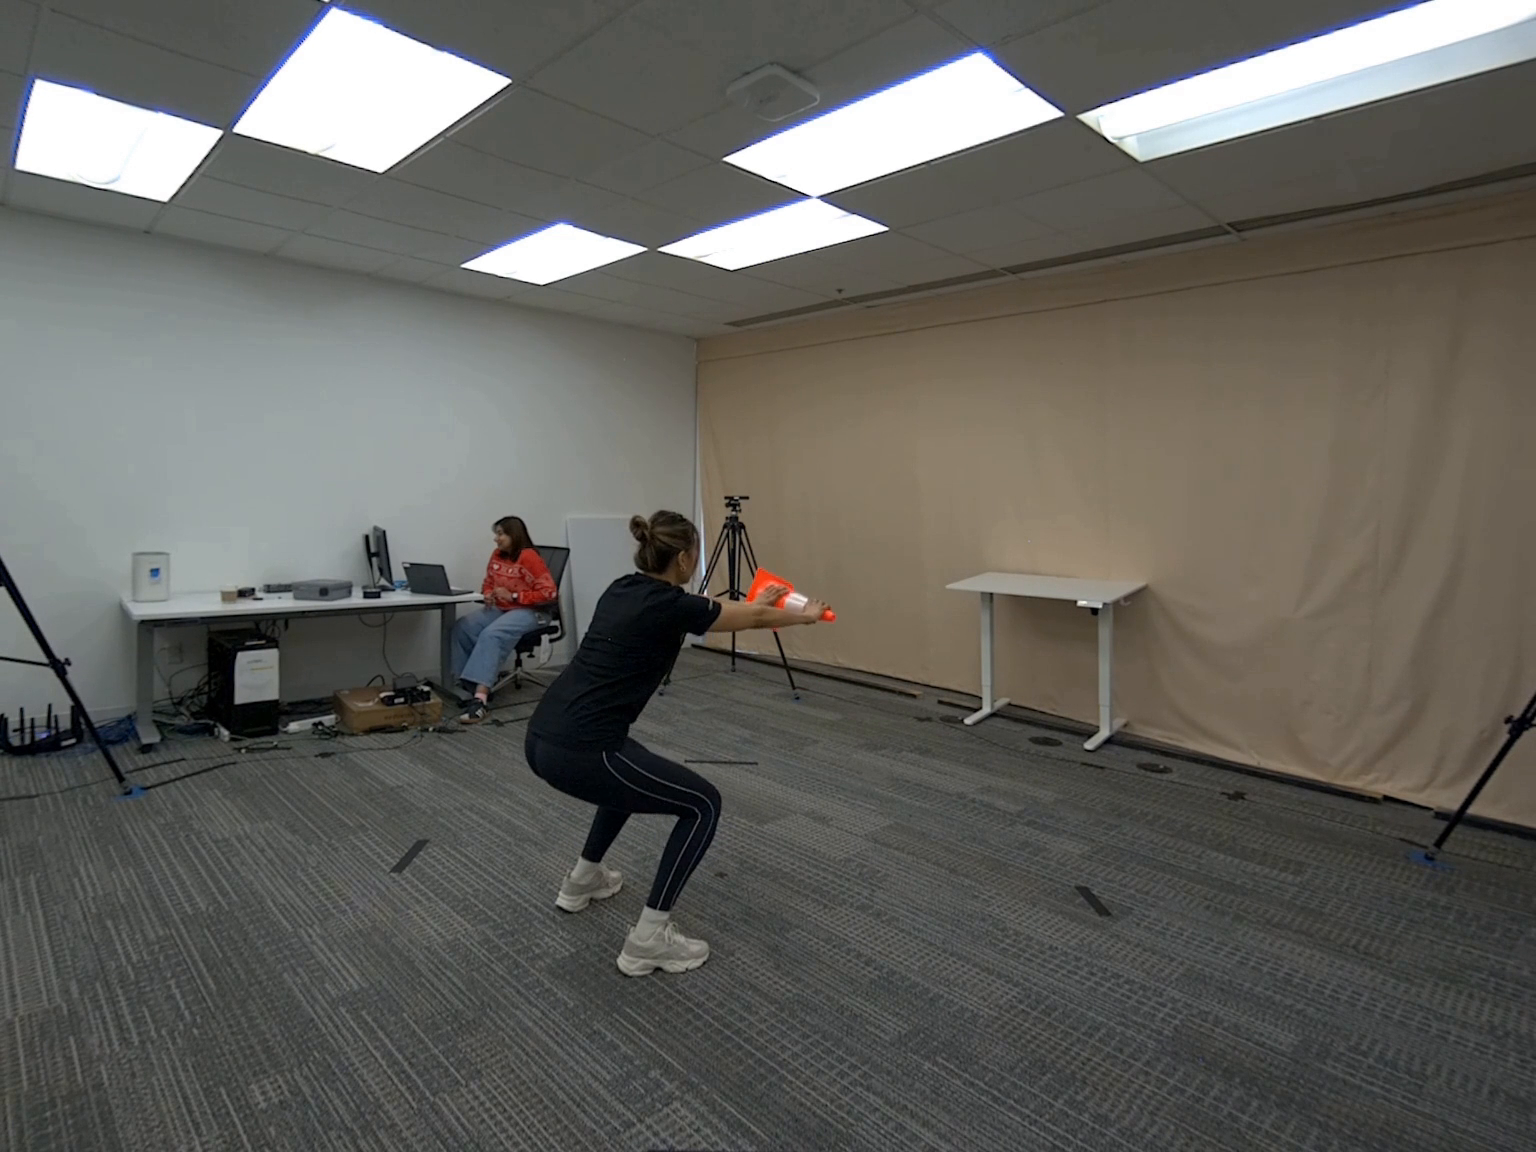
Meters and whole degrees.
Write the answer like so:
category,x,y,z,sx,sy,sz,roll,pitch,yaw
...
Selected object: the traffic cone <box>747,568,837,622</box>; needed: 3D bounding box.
category,x,y,z,sx,sy,sz,roll,pitch,yaw
traffic cone,0.103,0.115,3.122,0.197,0.205,0.394,28,-8,-36
